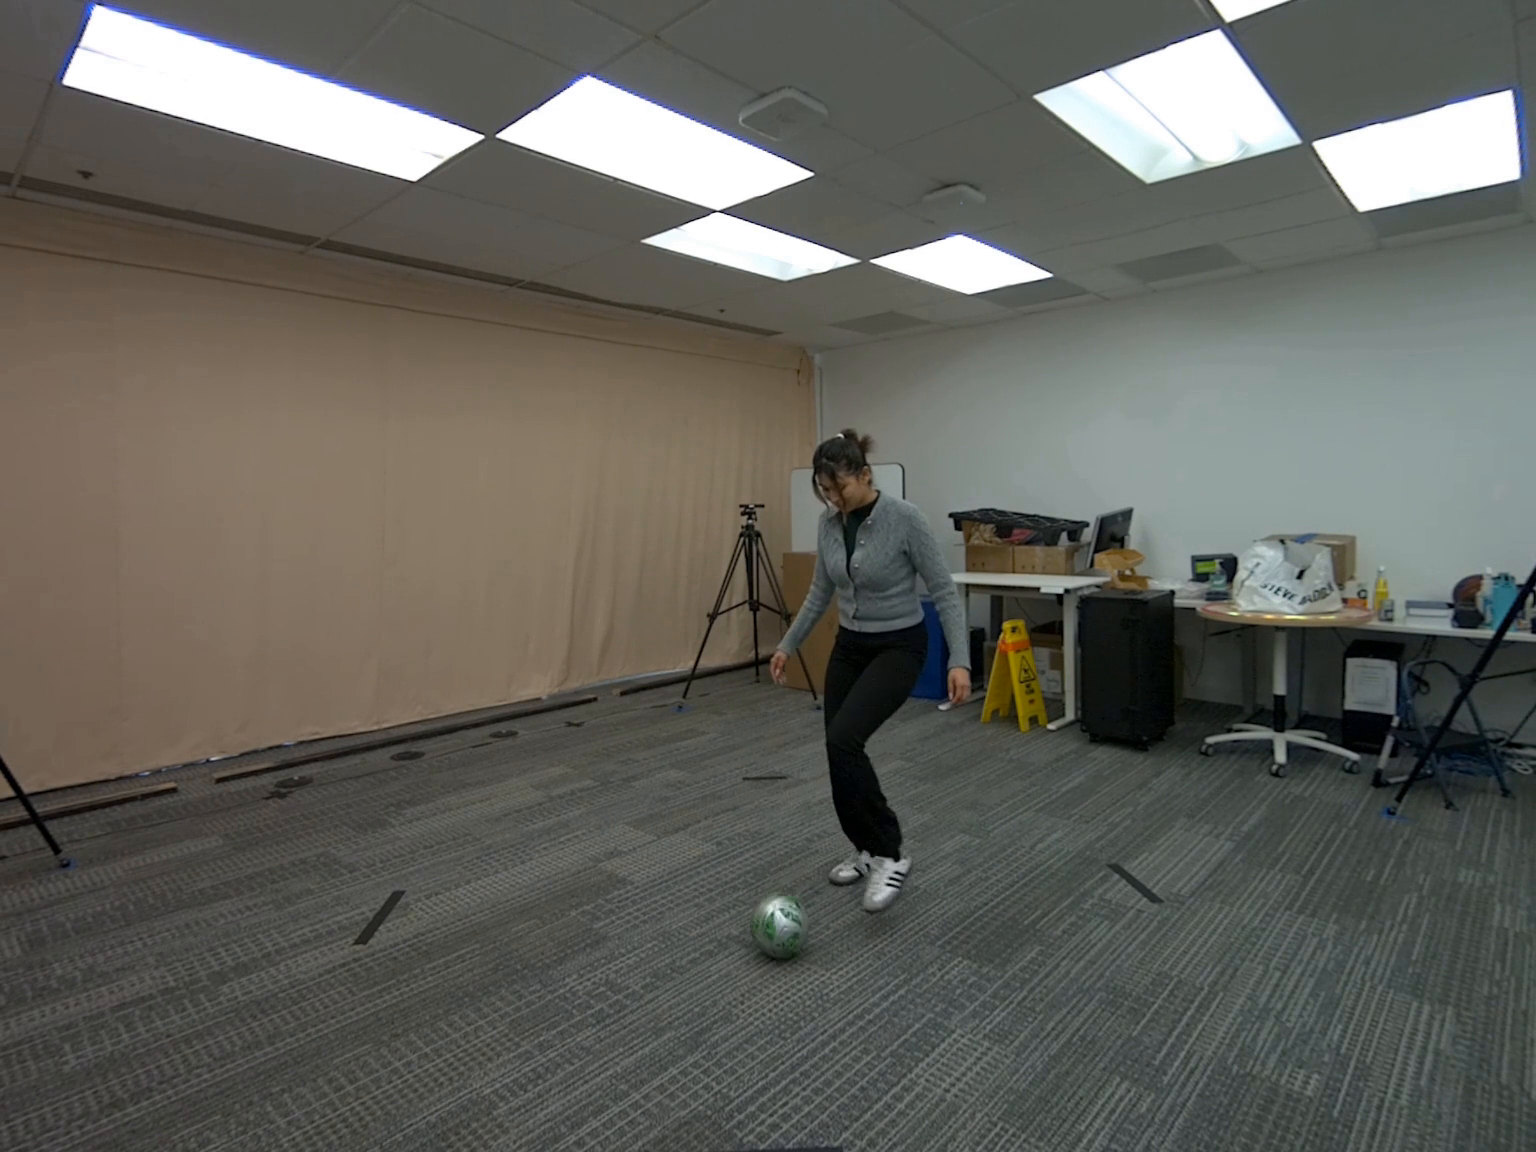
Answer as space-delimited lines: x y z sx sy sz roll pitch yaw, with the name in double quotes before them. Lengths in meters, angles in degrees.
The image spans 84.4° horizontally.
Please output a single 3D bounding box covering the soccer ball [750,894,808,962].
"soccer ball" 0.042 1.077 2.600 0.187 0.187 0.188 -1 4 -2
